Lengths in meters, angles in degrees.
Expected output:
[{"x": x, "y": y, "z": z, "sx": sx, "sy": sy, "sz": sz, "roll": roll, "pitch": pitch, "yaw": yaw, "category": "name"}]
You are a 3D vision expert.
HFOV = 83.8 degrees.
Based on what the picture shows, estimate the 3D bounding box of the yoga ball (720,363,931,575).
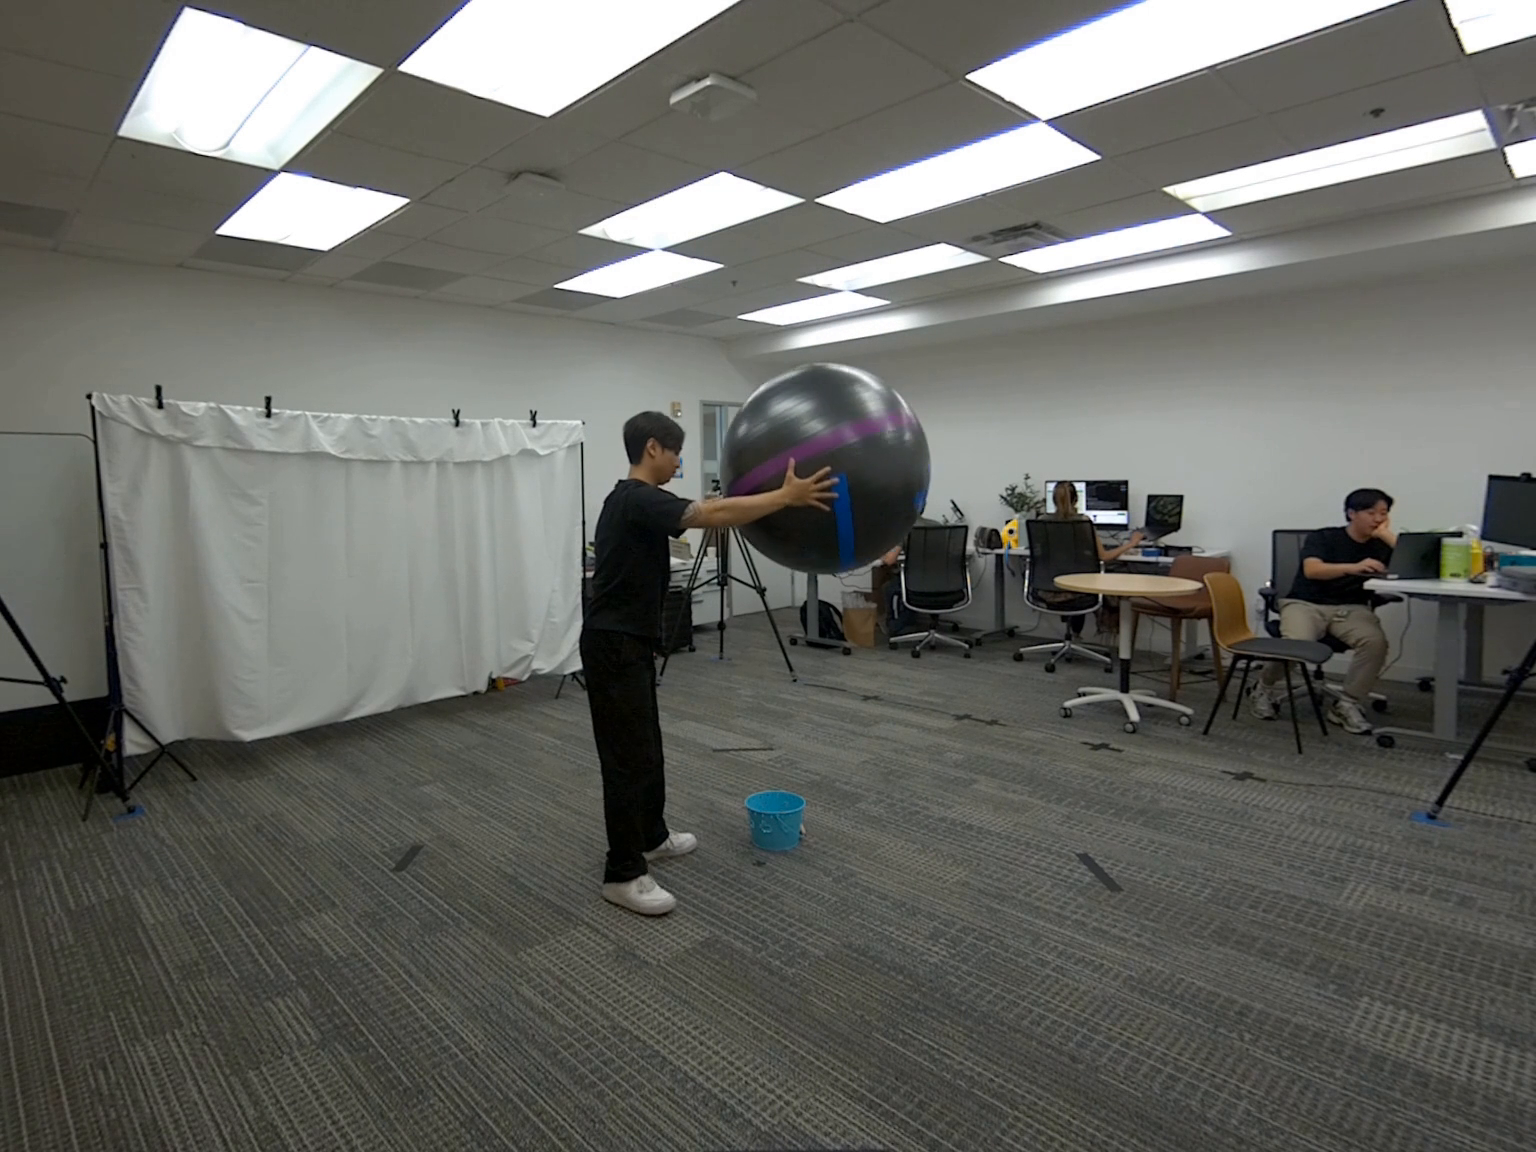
[{"x": 0.200, "y": -0.385, "z": 3.126, "sx": 0.757, "sy": 0.755, "sz": 0.762, "roll": -1, "pitch": 5, "yaw": -2, "category": "yoga ball"}]
